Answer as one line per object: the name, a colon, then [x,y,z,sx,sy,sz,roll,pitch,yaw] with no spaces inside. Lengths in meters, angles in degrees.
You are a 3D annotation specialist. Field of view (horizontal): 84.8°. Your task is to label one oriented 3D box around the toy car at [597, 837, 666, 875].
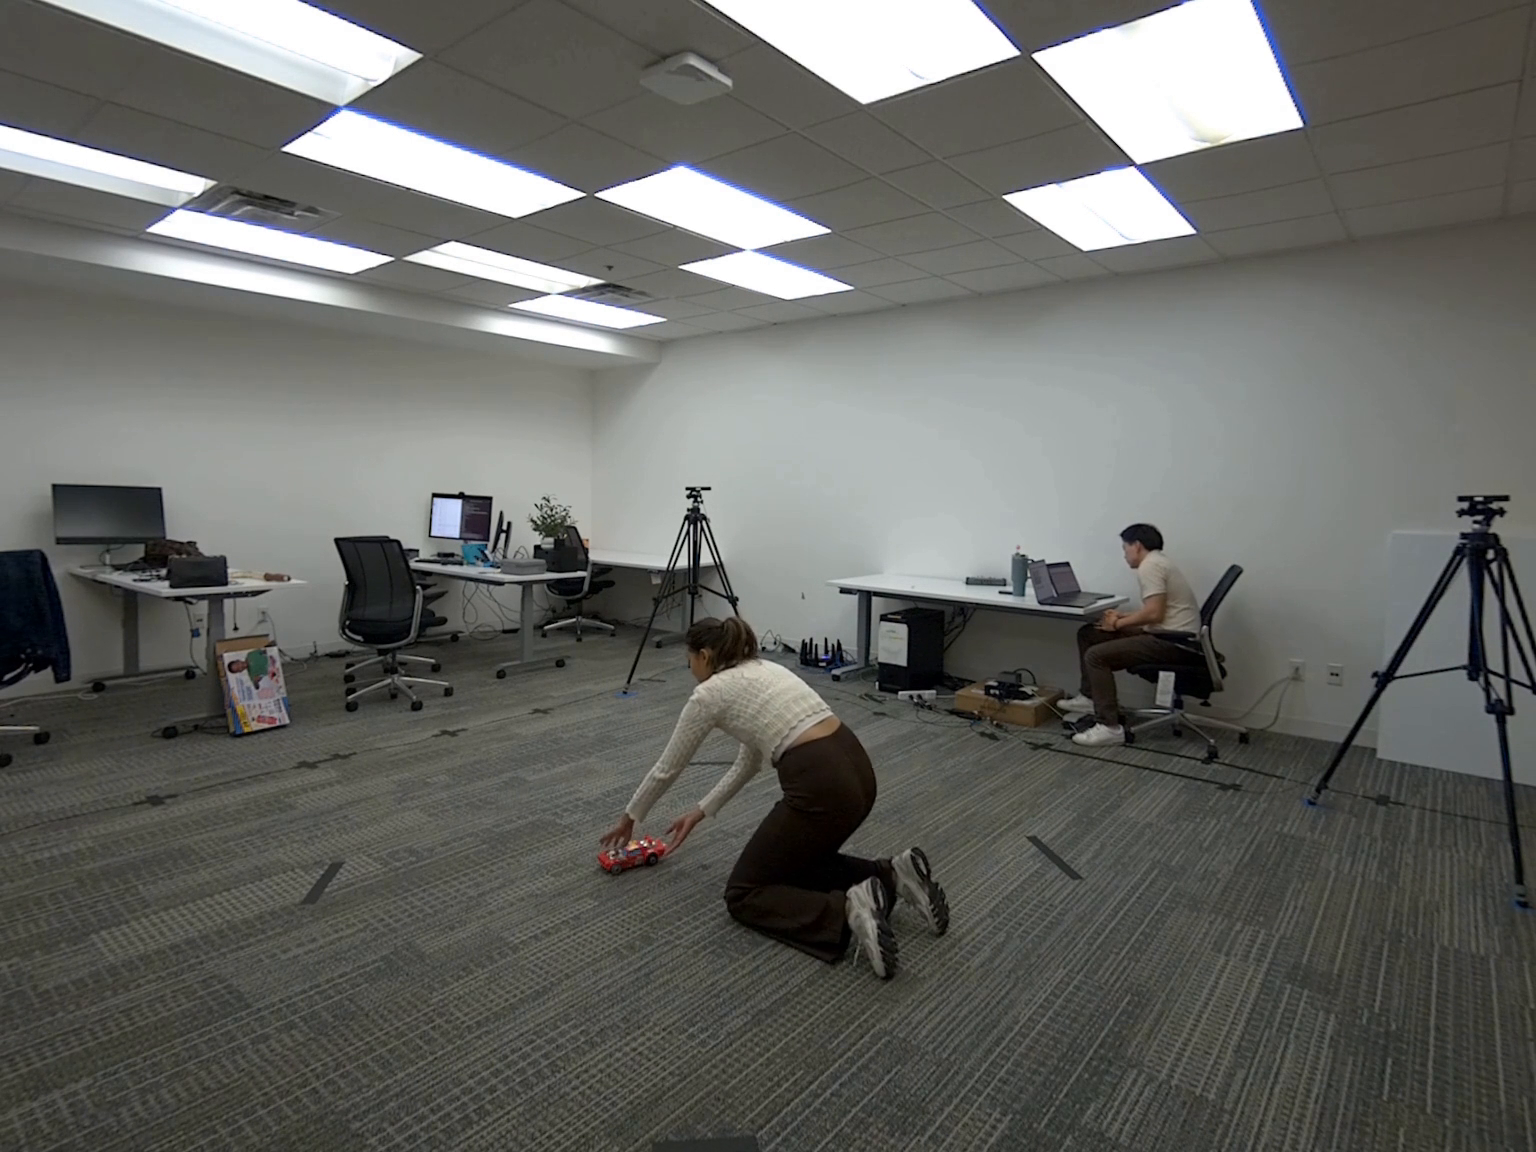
toy car: [-0.498,1.028,3.133,0.249,0.082,0.134,-16,12,-31]
